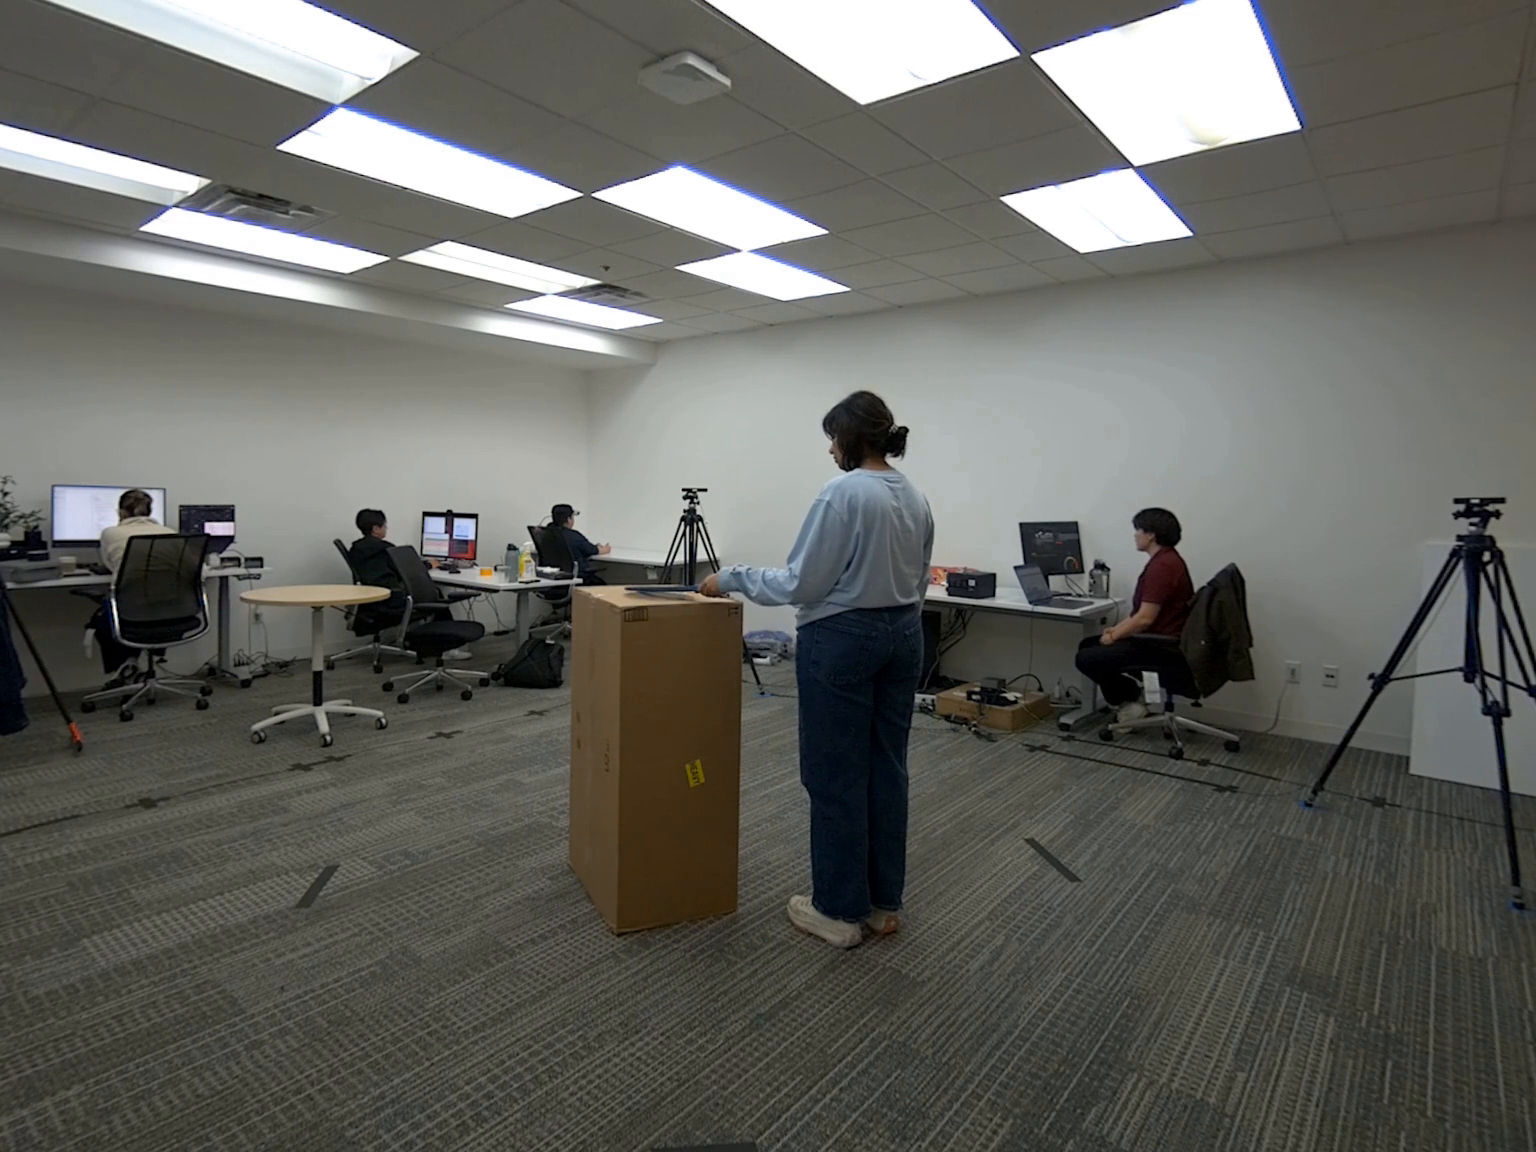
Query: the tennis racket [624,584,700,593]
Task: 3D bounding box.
[{"bbox_3d":[-0.314,0.040,2.847,0.446,0.032,0.207,2,-2,32],"label":"tennis racket"}]
